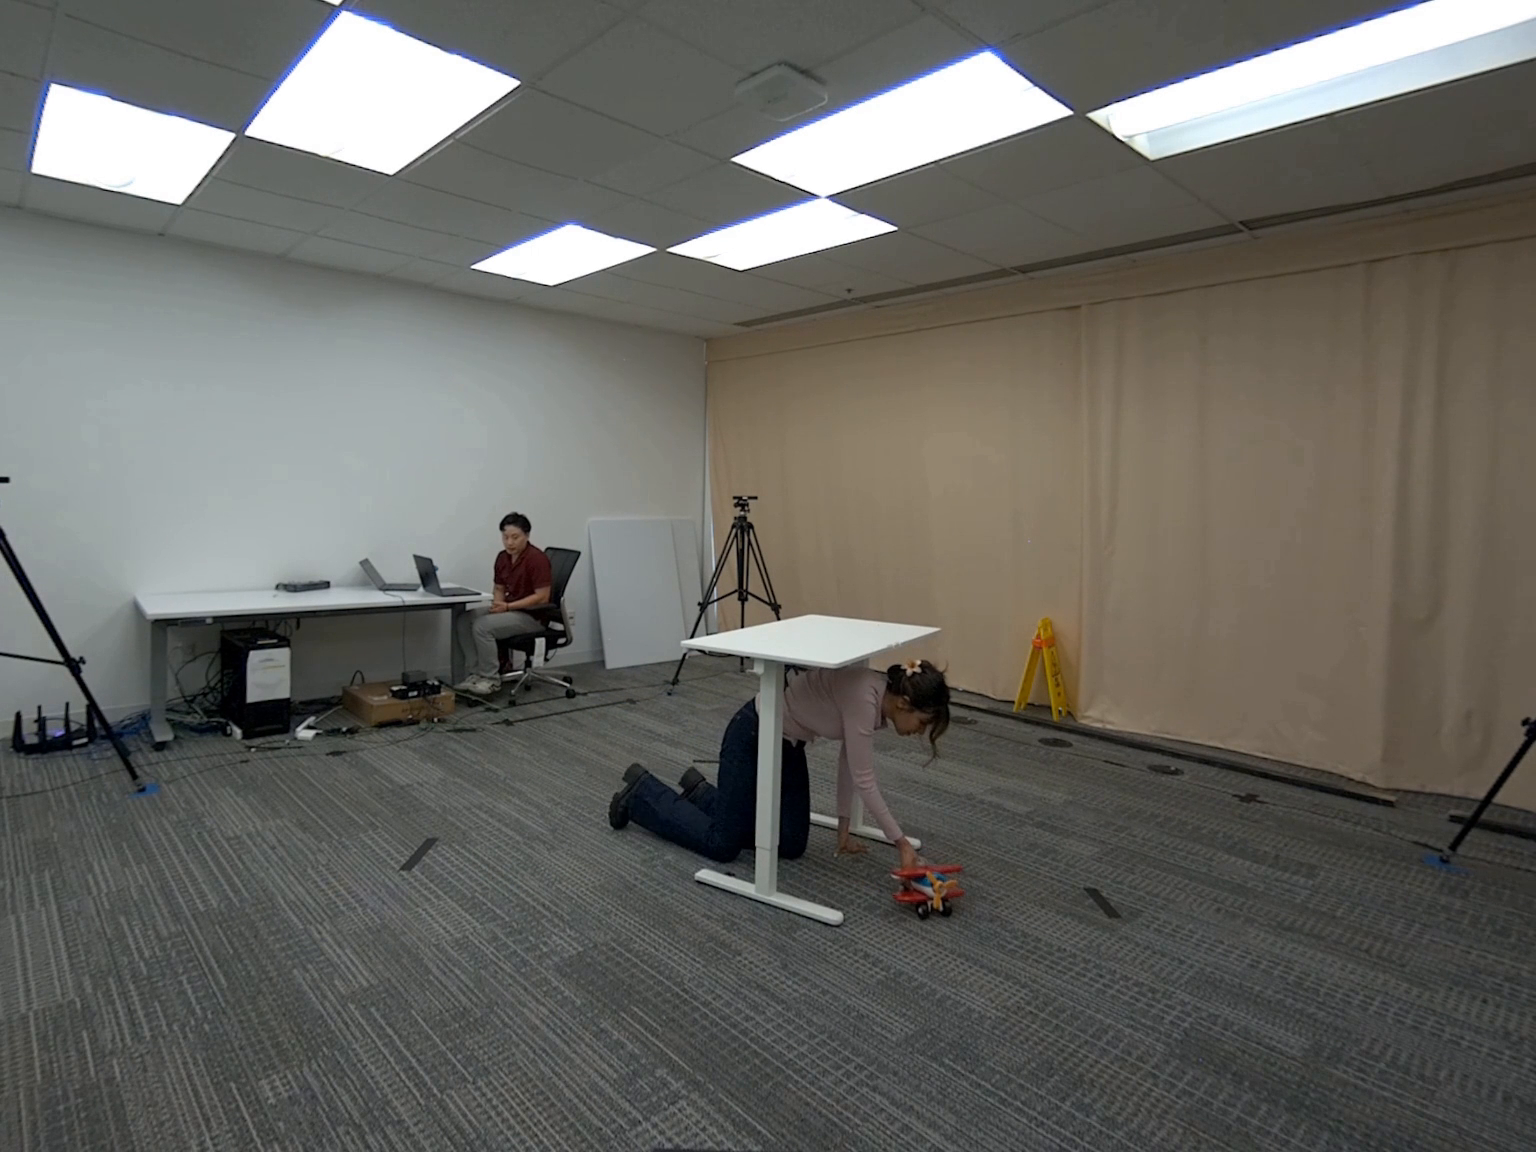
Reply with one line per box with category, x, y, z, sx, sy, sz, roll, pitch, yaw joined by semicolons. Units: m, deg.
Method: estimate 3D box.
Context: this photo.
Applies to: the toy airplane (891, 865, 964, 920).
toy airplane;0.509;1.062;2.901;0.245;0.156;0.266;-3;8;-44
